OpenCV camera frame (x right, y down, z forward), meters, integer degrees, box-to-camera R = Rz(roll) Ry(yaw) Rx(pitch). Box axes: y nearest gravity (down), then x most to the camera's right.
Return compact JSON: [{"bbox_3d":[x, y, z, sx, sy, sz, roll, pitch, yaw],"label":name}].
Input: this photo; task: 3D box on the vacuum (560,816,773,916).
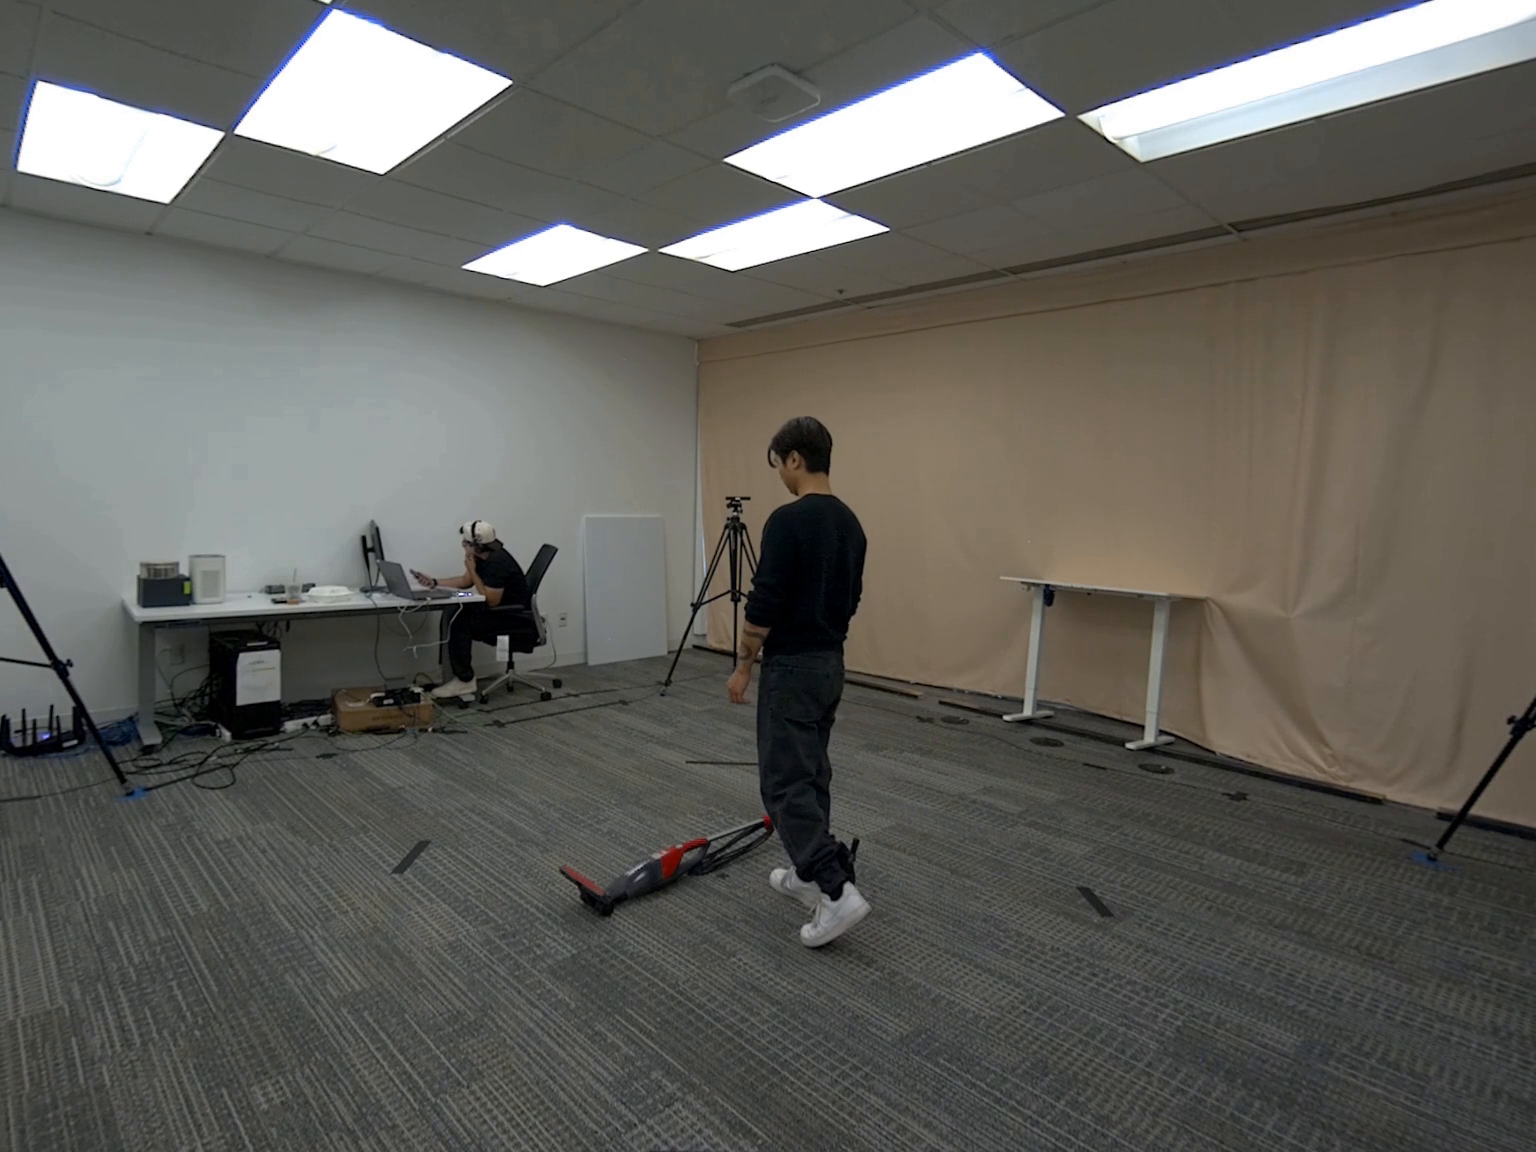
[{"bbox_3d":[-0.243,1.038,3.159,1.025,0.143,0.259,-2,8,-44],"label":"vacuum"}]
